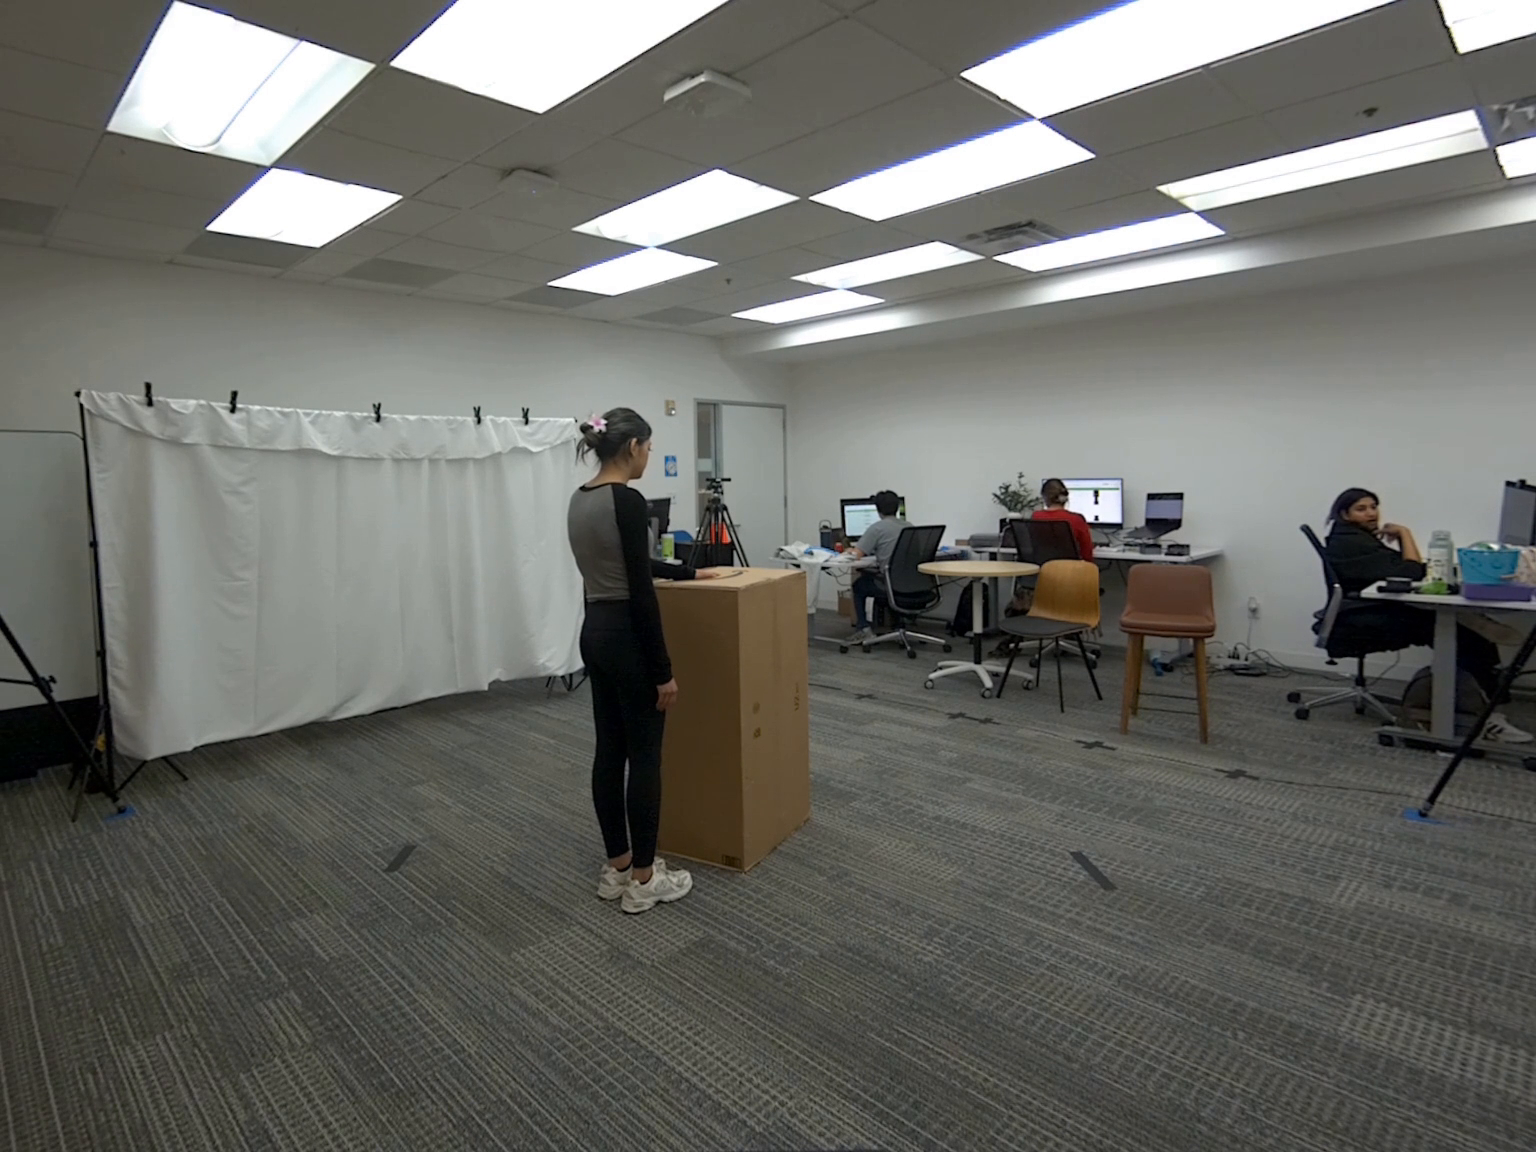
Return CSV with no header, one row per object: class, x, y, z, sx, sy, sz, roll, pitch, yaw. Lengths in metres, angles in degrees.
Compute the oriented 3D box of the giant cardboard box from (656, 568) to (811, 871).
giant cardboard box,-0.150,0.511,3.342,0.458,1.023,0.572,2,5,28
